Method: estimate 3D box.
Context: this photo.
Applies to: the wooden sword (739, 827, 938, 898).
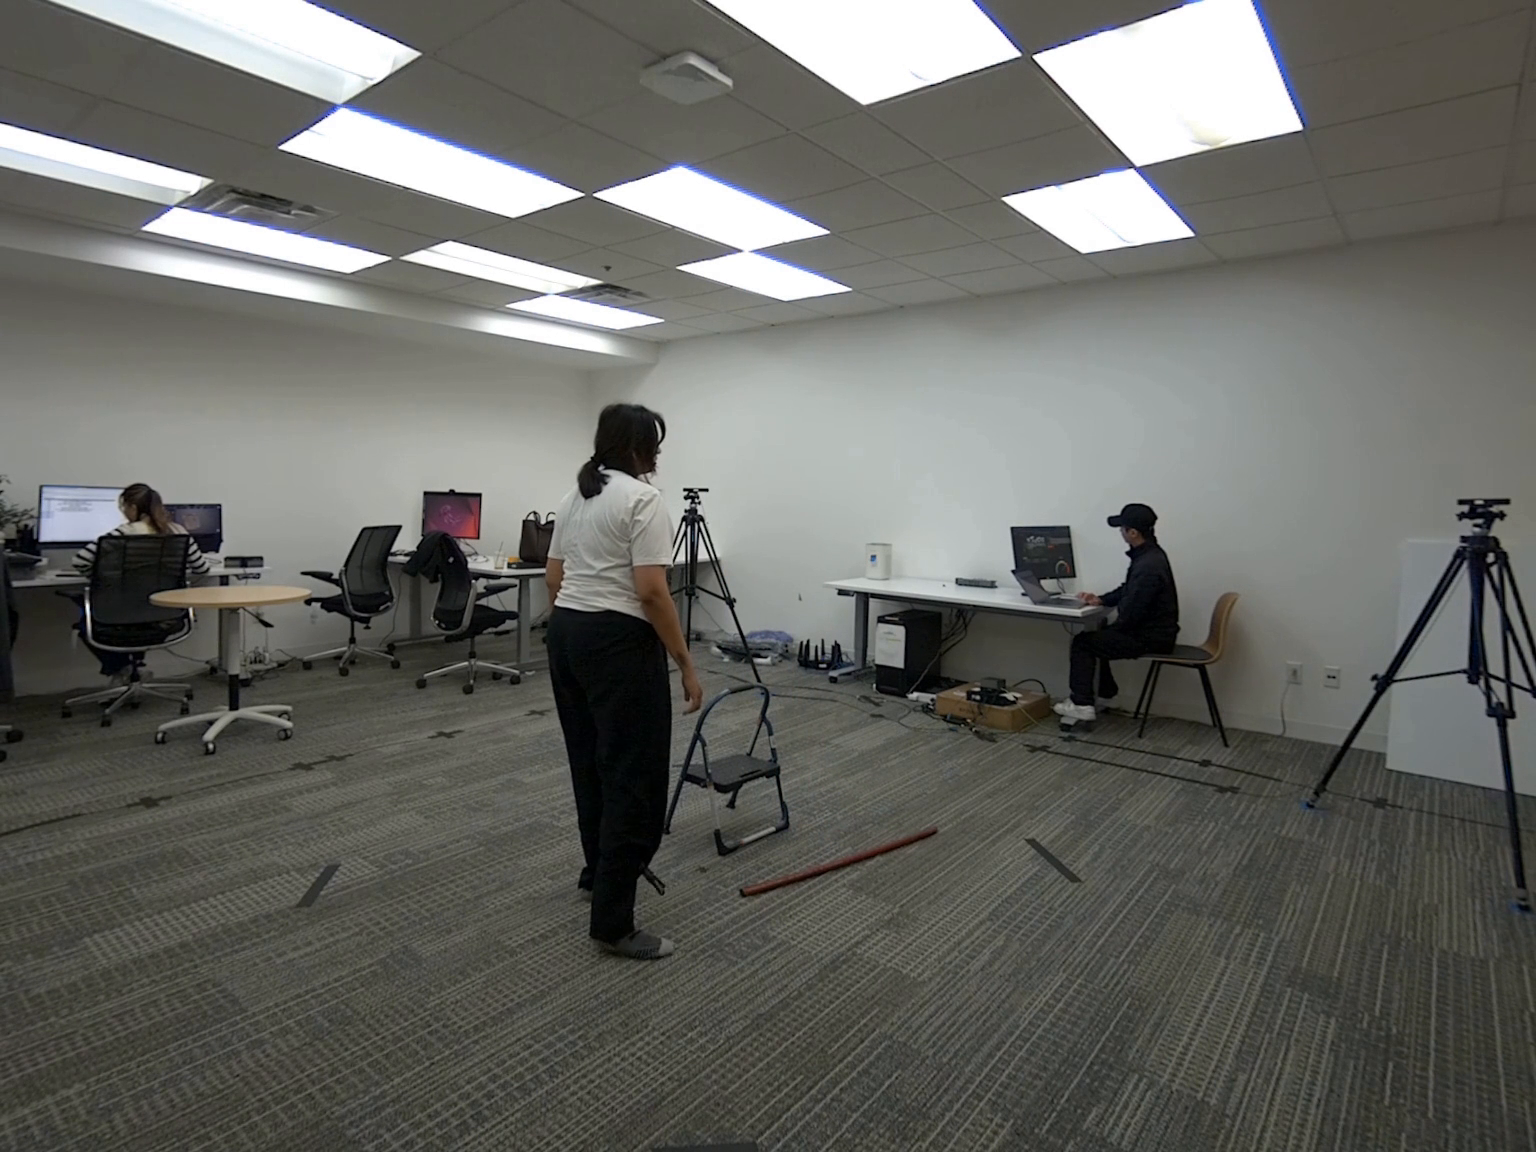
[{"bbox_3d":[0.288,1.040,3.206,0.994,0.052,0.024,-2,-26,-37],"label":"wooden sword"}]
